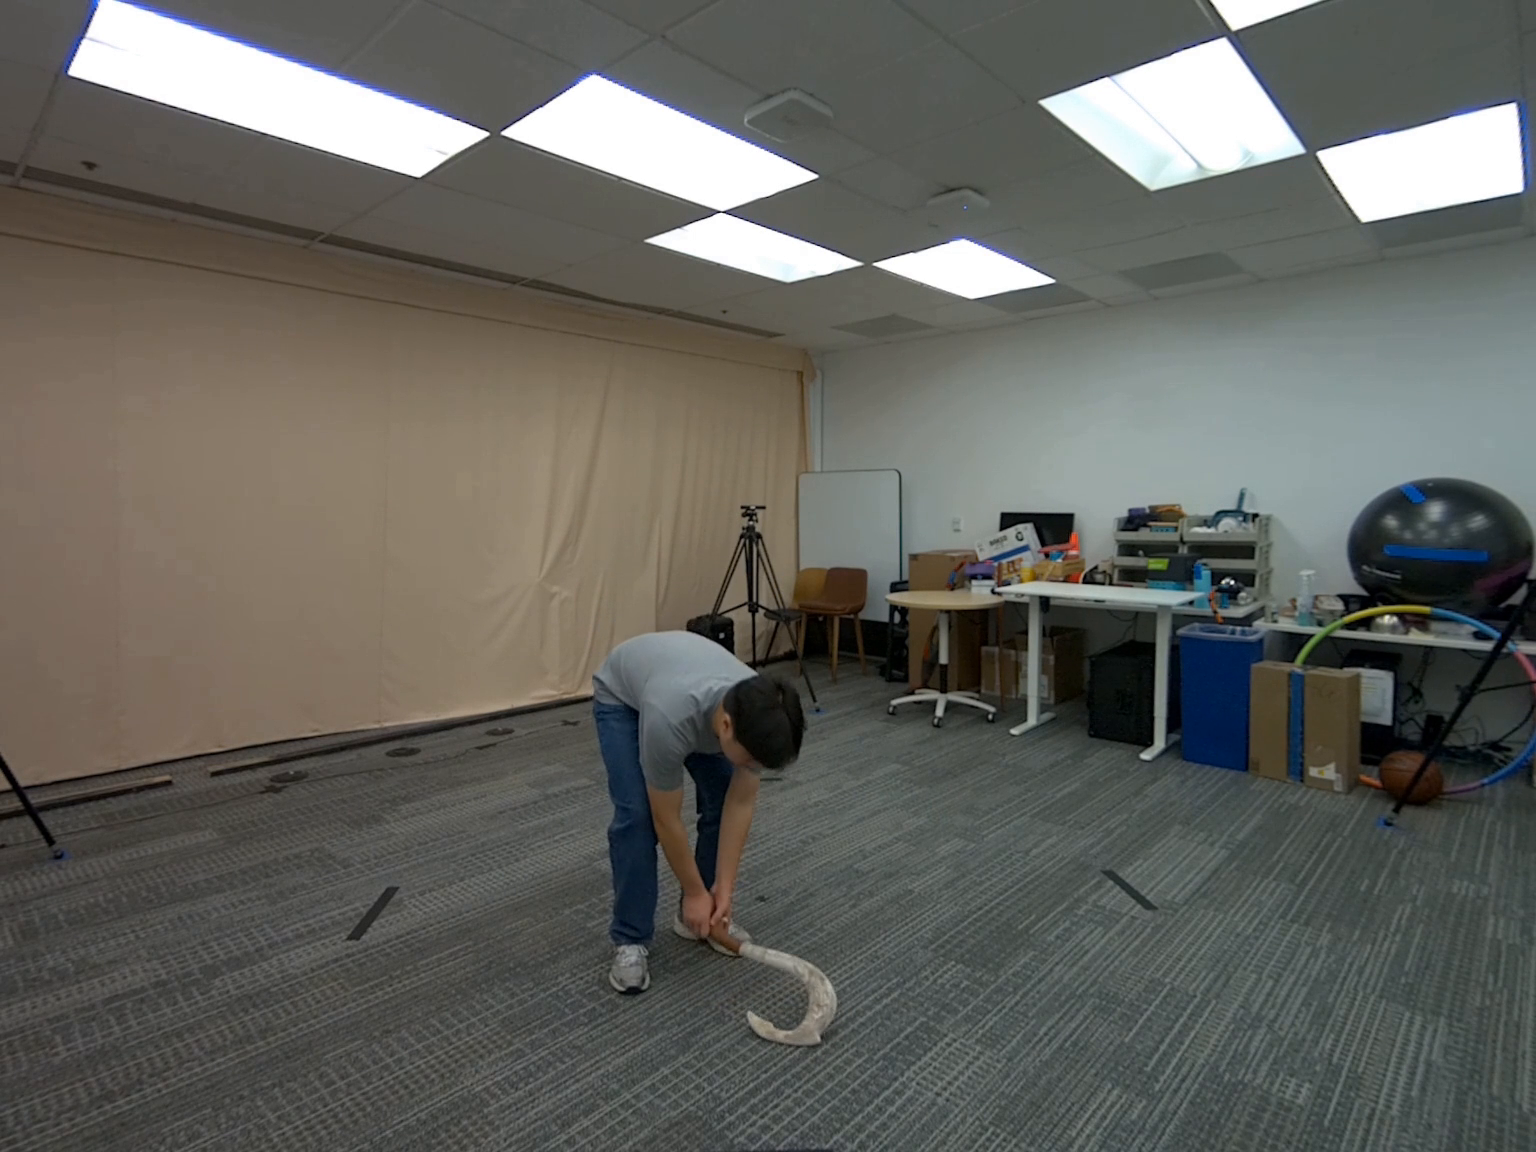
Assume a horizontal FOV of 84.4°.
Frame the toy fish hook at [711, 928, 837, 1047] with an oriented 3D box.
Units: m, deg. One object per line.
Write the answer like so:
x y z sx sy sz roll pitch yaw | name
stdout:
-0.055 1.091 2.315 0.523 0.047 0.222 16 43 30 | toy fish hook
